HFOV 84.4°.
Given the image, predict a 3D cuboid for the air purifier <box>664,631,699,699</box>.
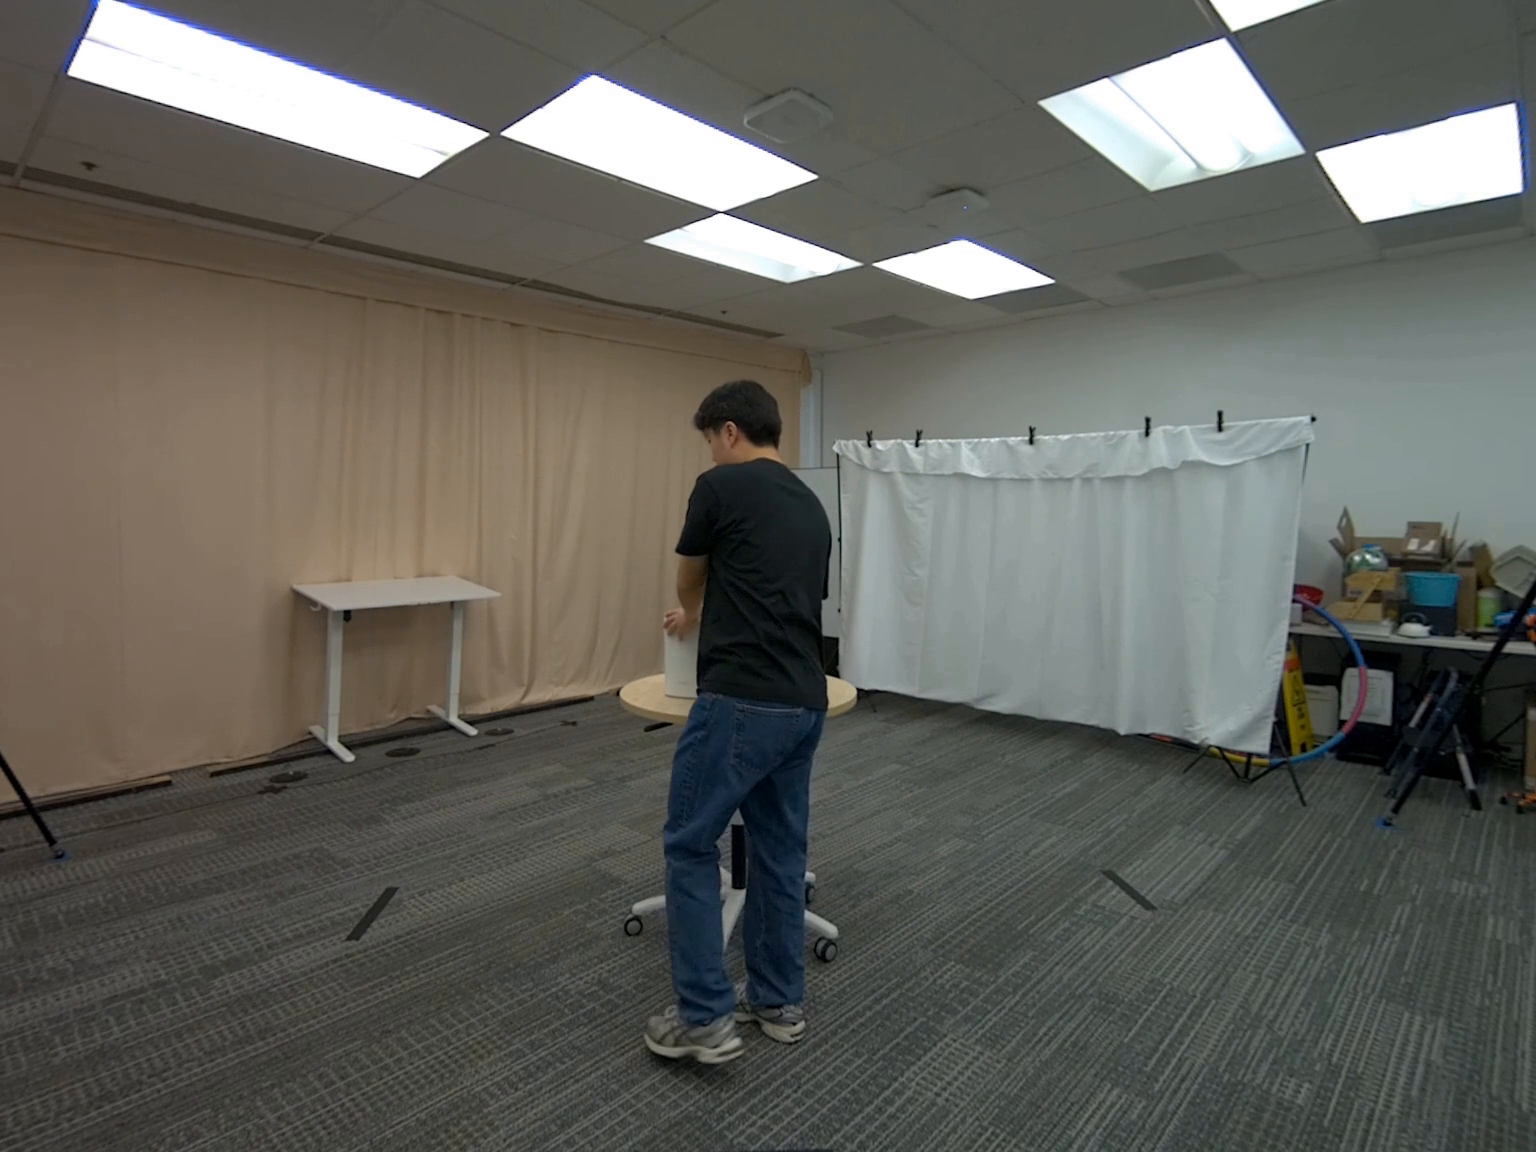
[{"bbox_3d":[-0.225,0.241,2.679,0.175,0.265,0.168,2,3,20],"label":"air purifier"}]
